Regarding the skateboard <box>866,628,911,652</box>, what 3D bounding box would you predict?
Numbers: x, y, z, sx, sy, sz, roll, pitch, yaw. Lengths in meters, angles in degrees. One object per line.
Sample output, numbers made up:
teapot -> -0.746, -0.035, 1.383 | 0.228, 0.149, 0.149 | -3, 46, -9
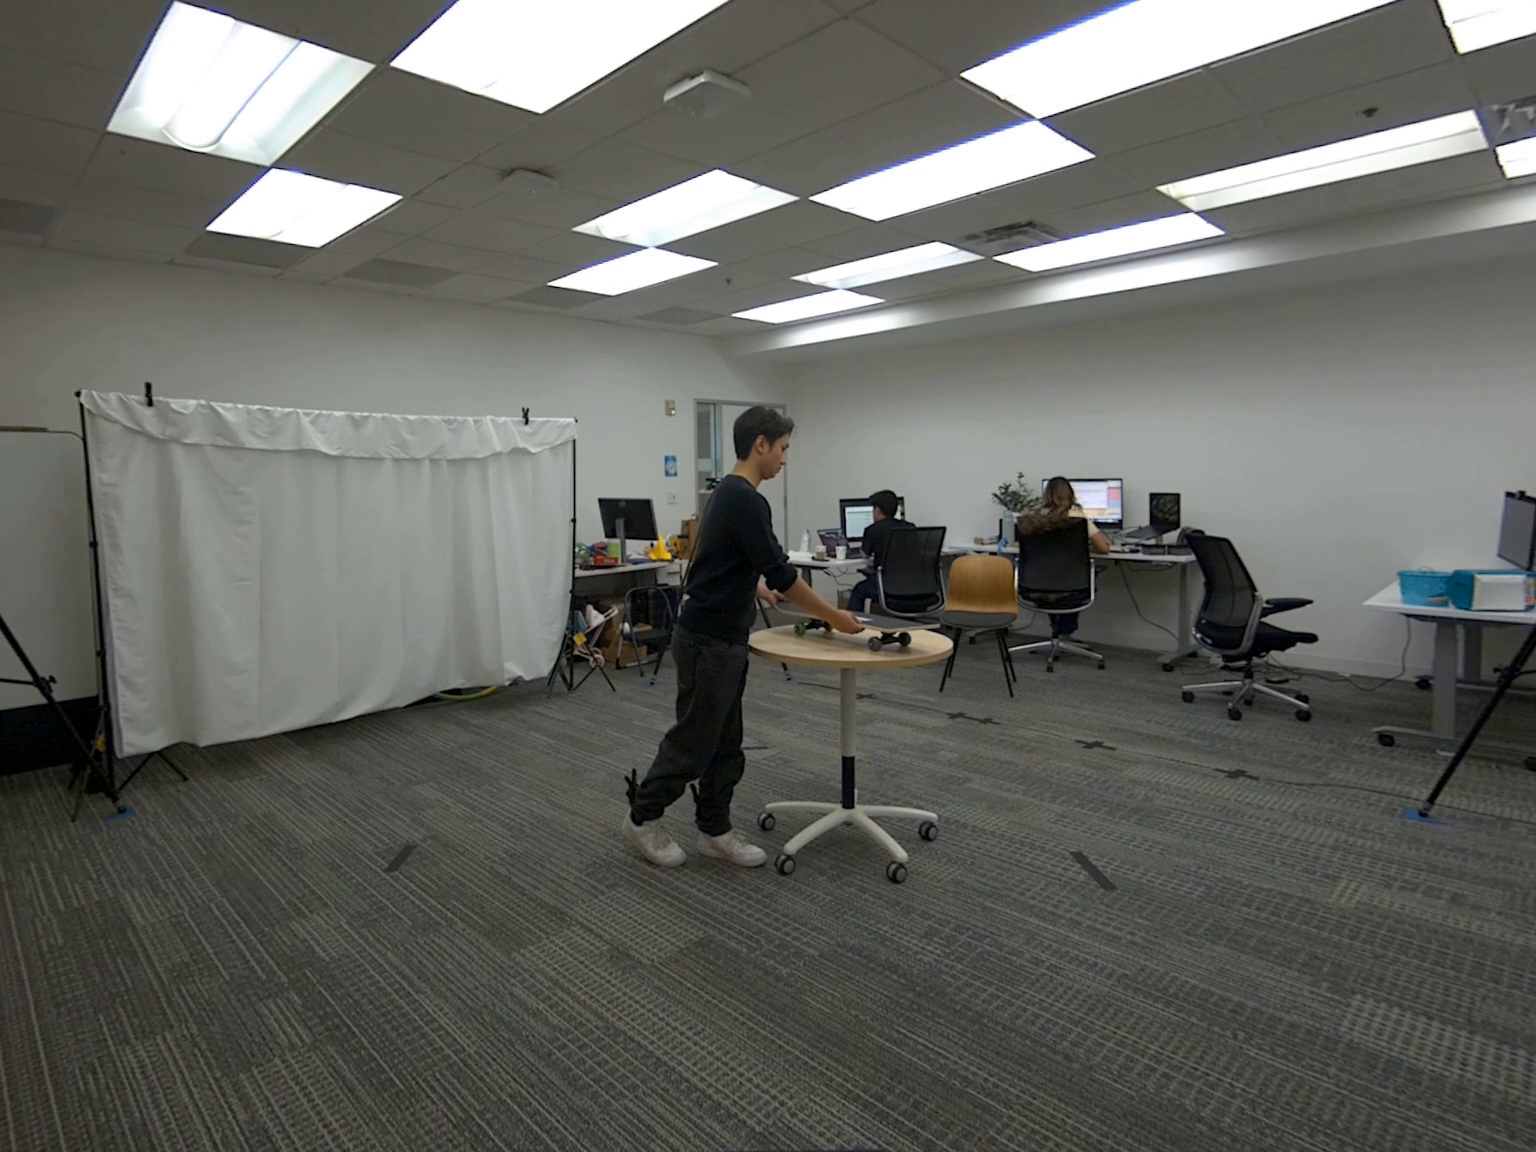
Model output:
skateboard -> 0.311, 0.189, 3.191 | 0.188, 0.110, 0.810 | -5, 8, -38
